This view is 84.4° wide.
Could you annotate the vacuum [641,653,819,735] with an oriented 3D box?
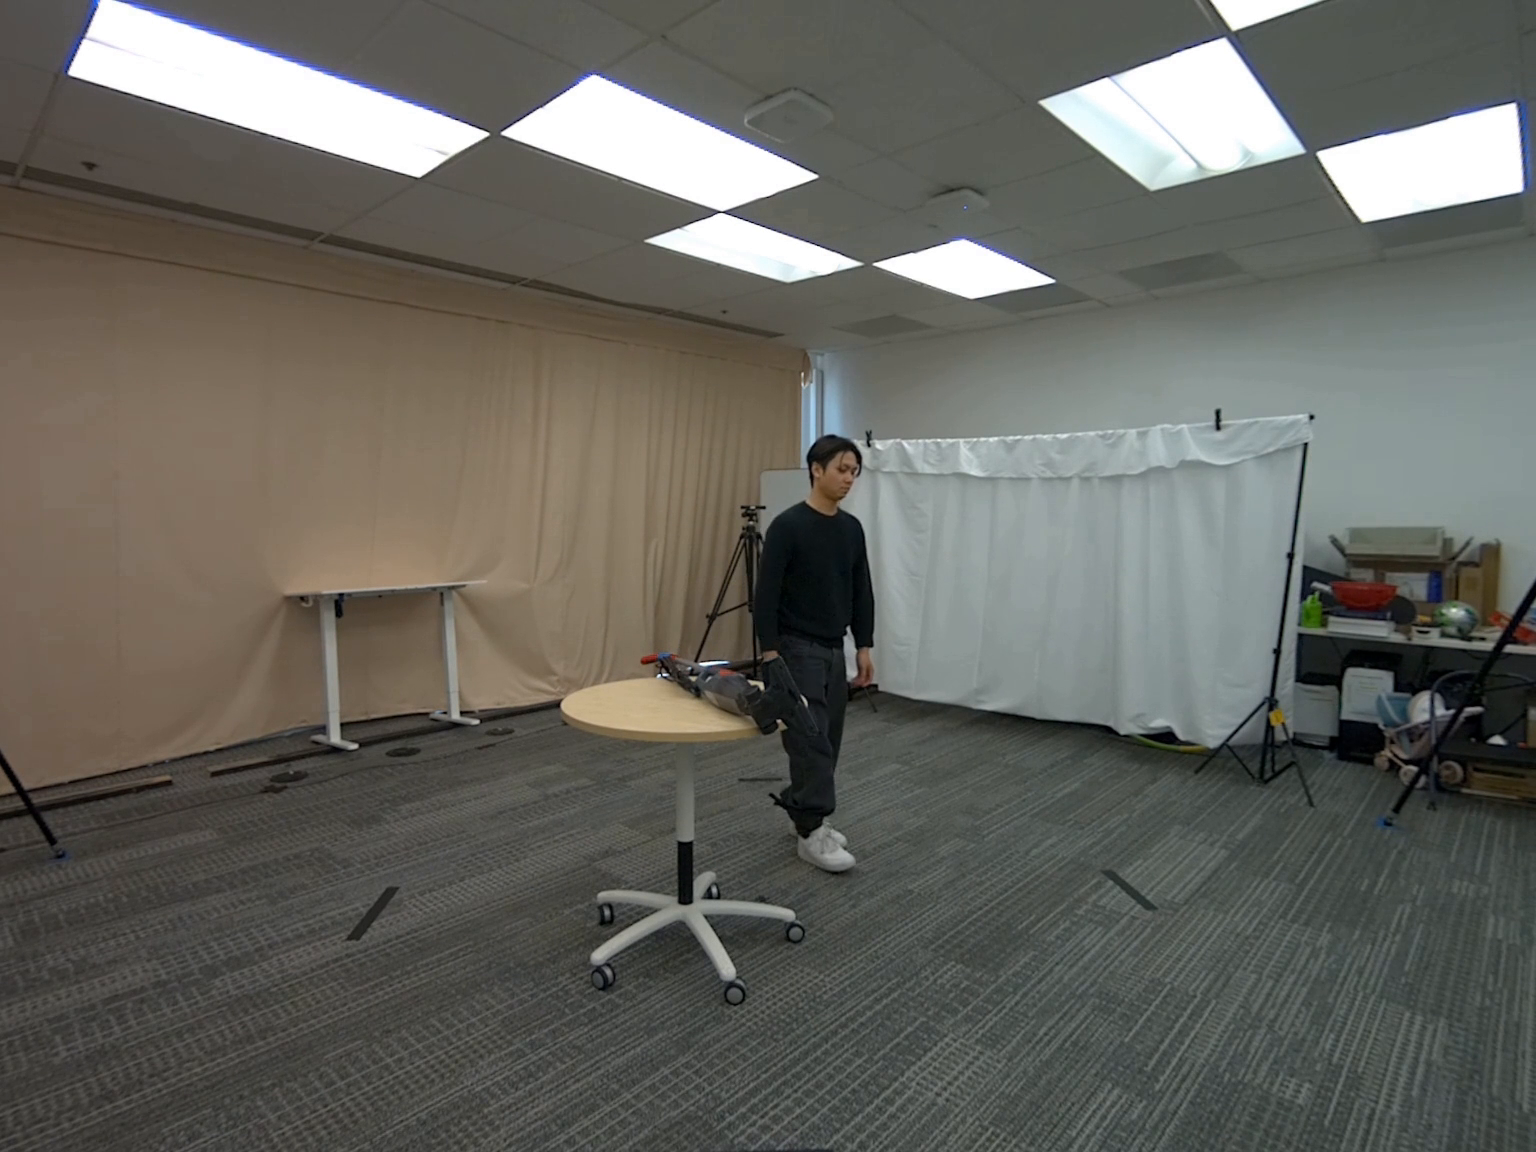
[{"bbox_3d":[-0.224,0.343,2.752,0.142,0.249,1.076,-33,15,-24],"label":"vacuum"}]
